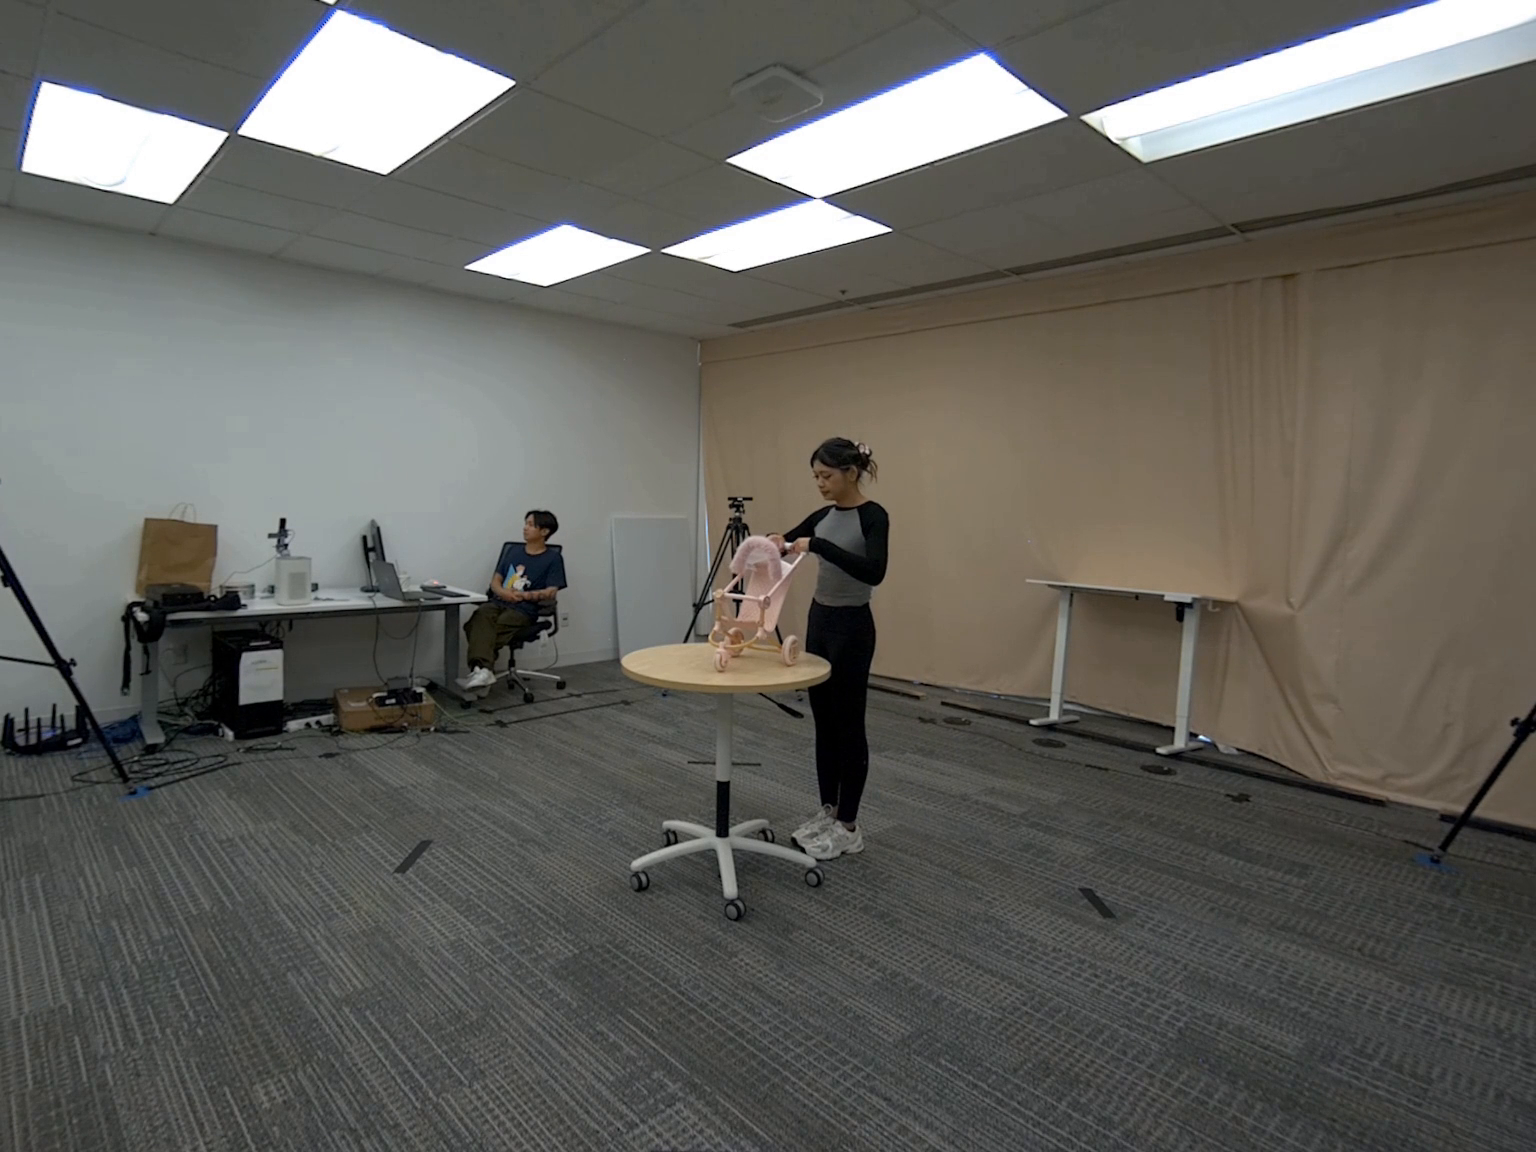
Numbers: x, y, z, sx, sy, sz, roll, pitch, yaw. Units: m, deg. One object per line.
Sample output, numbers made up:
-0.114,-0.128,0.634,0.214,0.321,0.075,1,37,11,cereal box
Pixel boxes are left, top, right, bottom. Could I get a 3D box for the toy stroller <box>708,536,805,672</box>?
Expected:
-0.061,0.095,3.057,0.288,0.538,0.331,3,-11,39,toy stroller
